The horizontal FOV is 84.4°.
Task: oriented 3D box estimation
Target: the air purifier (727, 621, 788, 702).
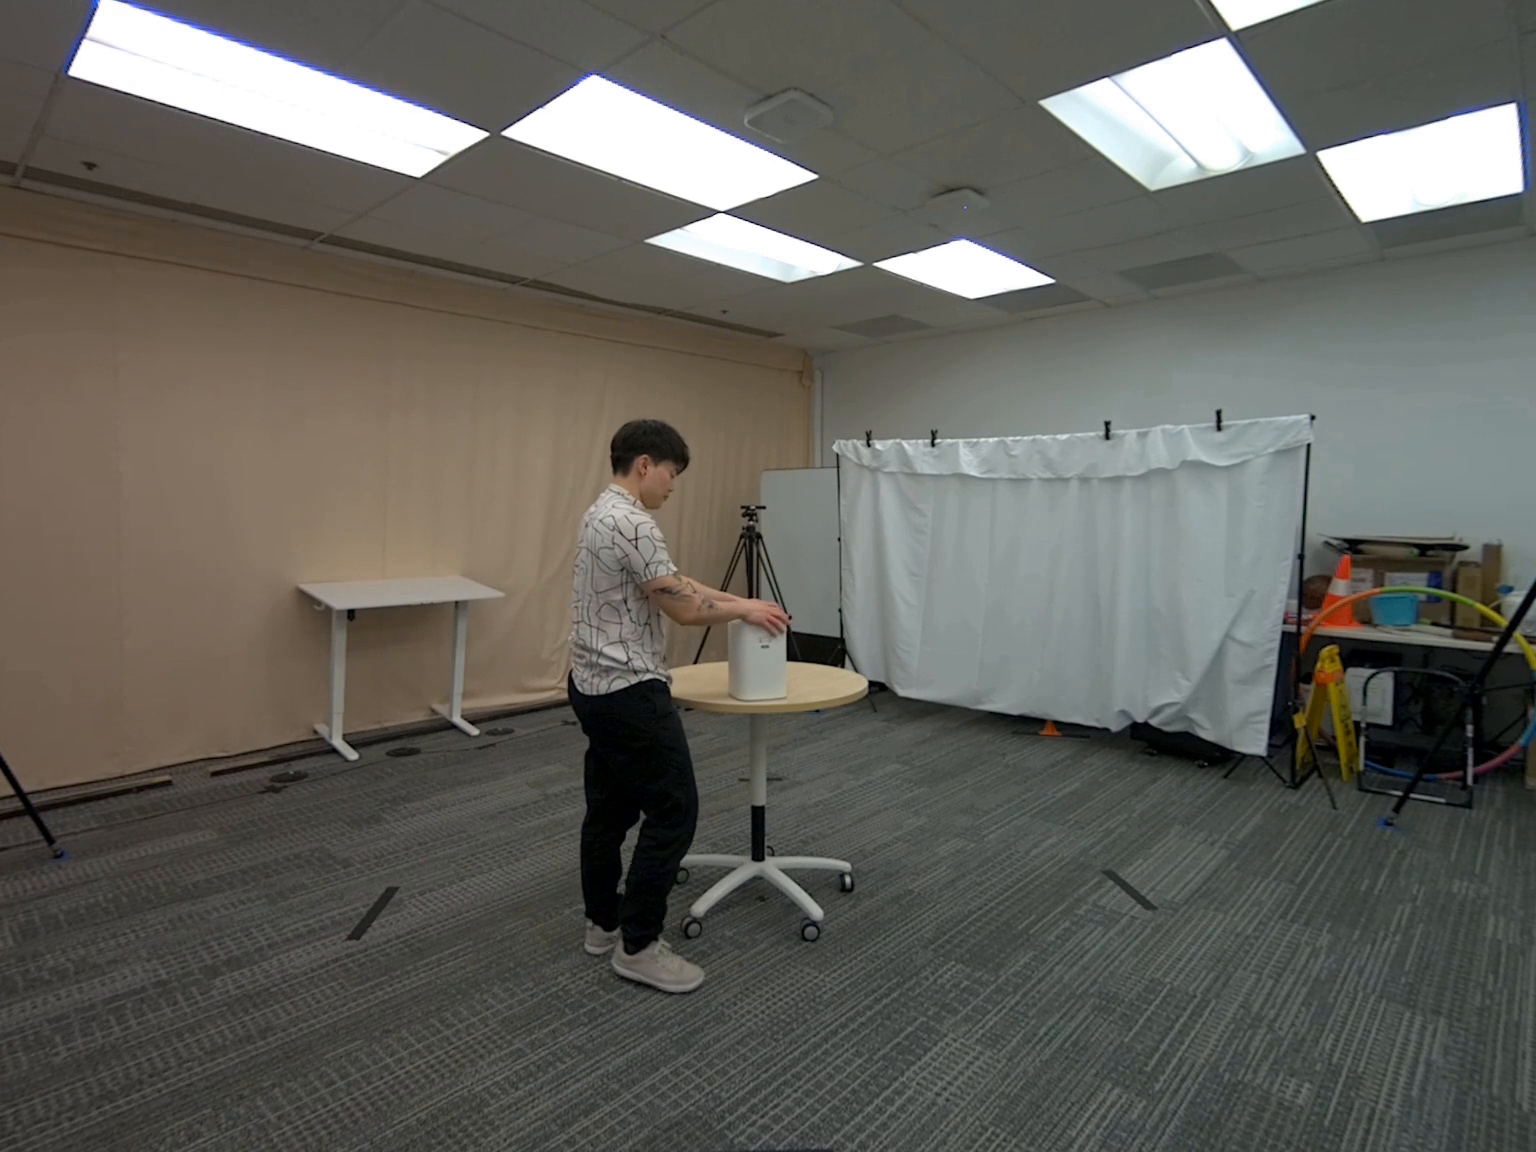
[{"bbox_3d":[-0.031,0.254,2.695,0.169,0.265,0.174,0,3,-12],"label":"air purifier"}]
